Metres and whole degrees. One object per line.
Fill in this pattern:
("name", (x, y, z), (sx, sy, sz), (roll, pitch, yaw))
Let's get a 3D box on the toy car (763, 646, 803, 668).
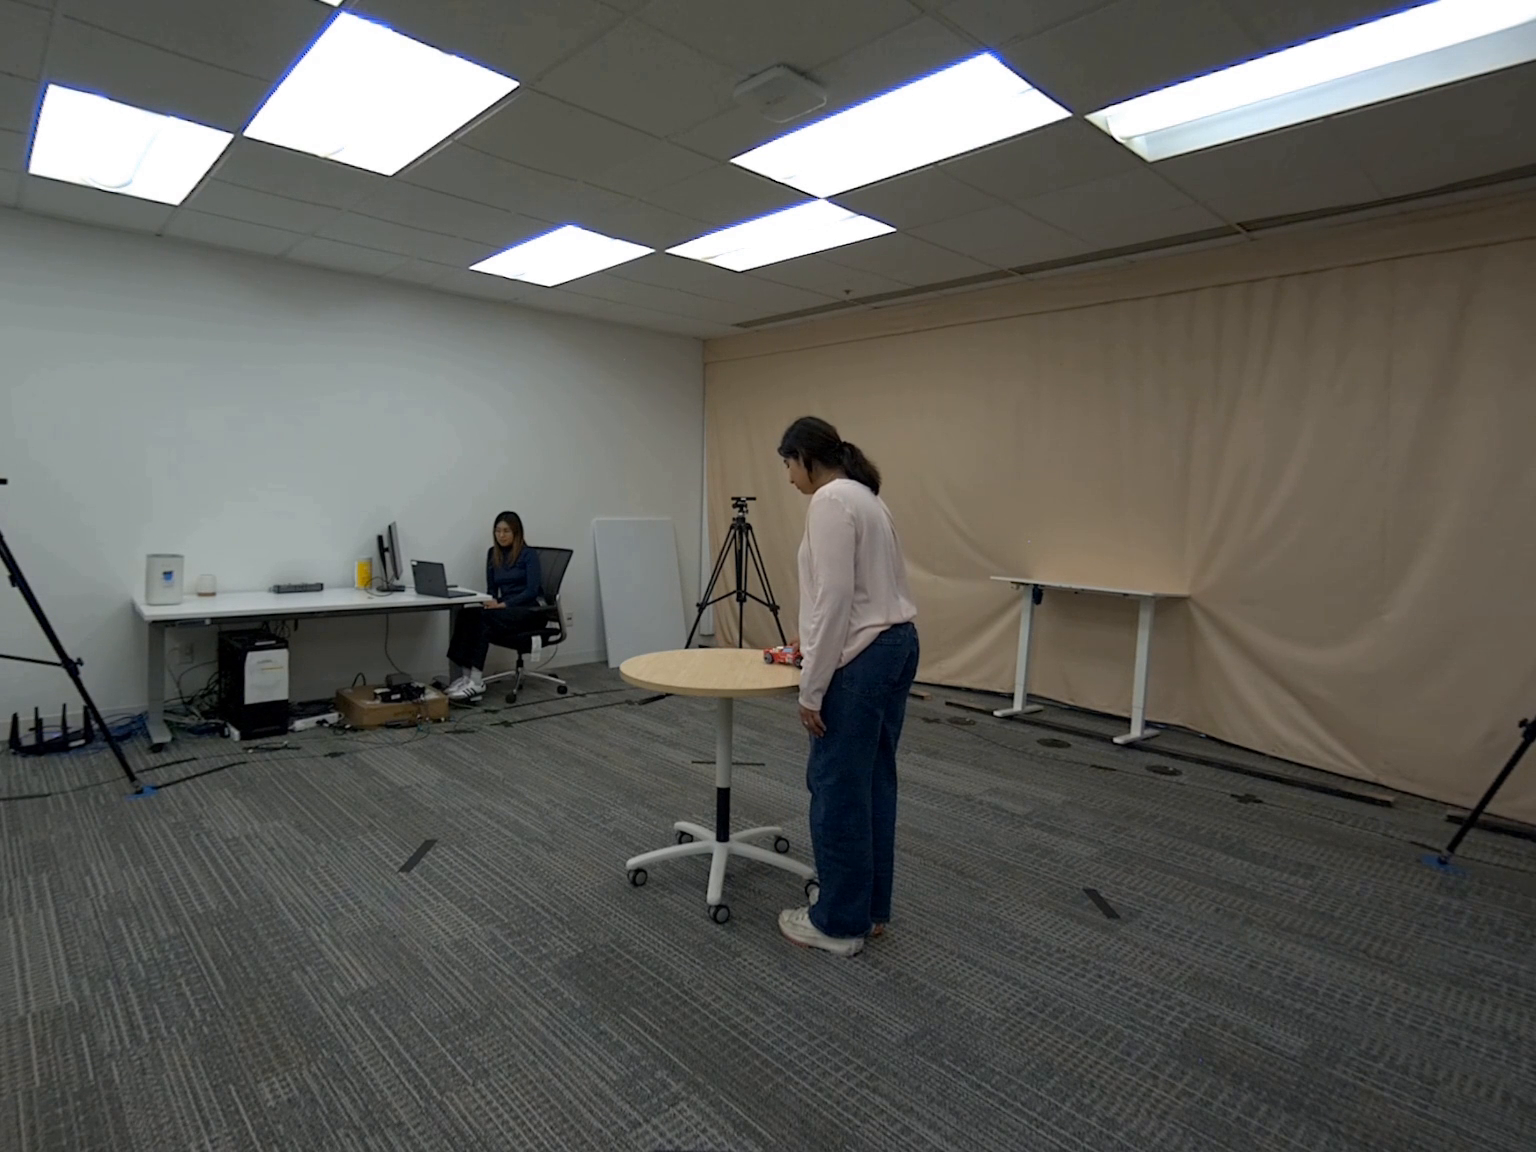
("toy car", (0.099, 0.298, 3.087), (0.259, 0.083, 0.127), (-9, -3, 40))
